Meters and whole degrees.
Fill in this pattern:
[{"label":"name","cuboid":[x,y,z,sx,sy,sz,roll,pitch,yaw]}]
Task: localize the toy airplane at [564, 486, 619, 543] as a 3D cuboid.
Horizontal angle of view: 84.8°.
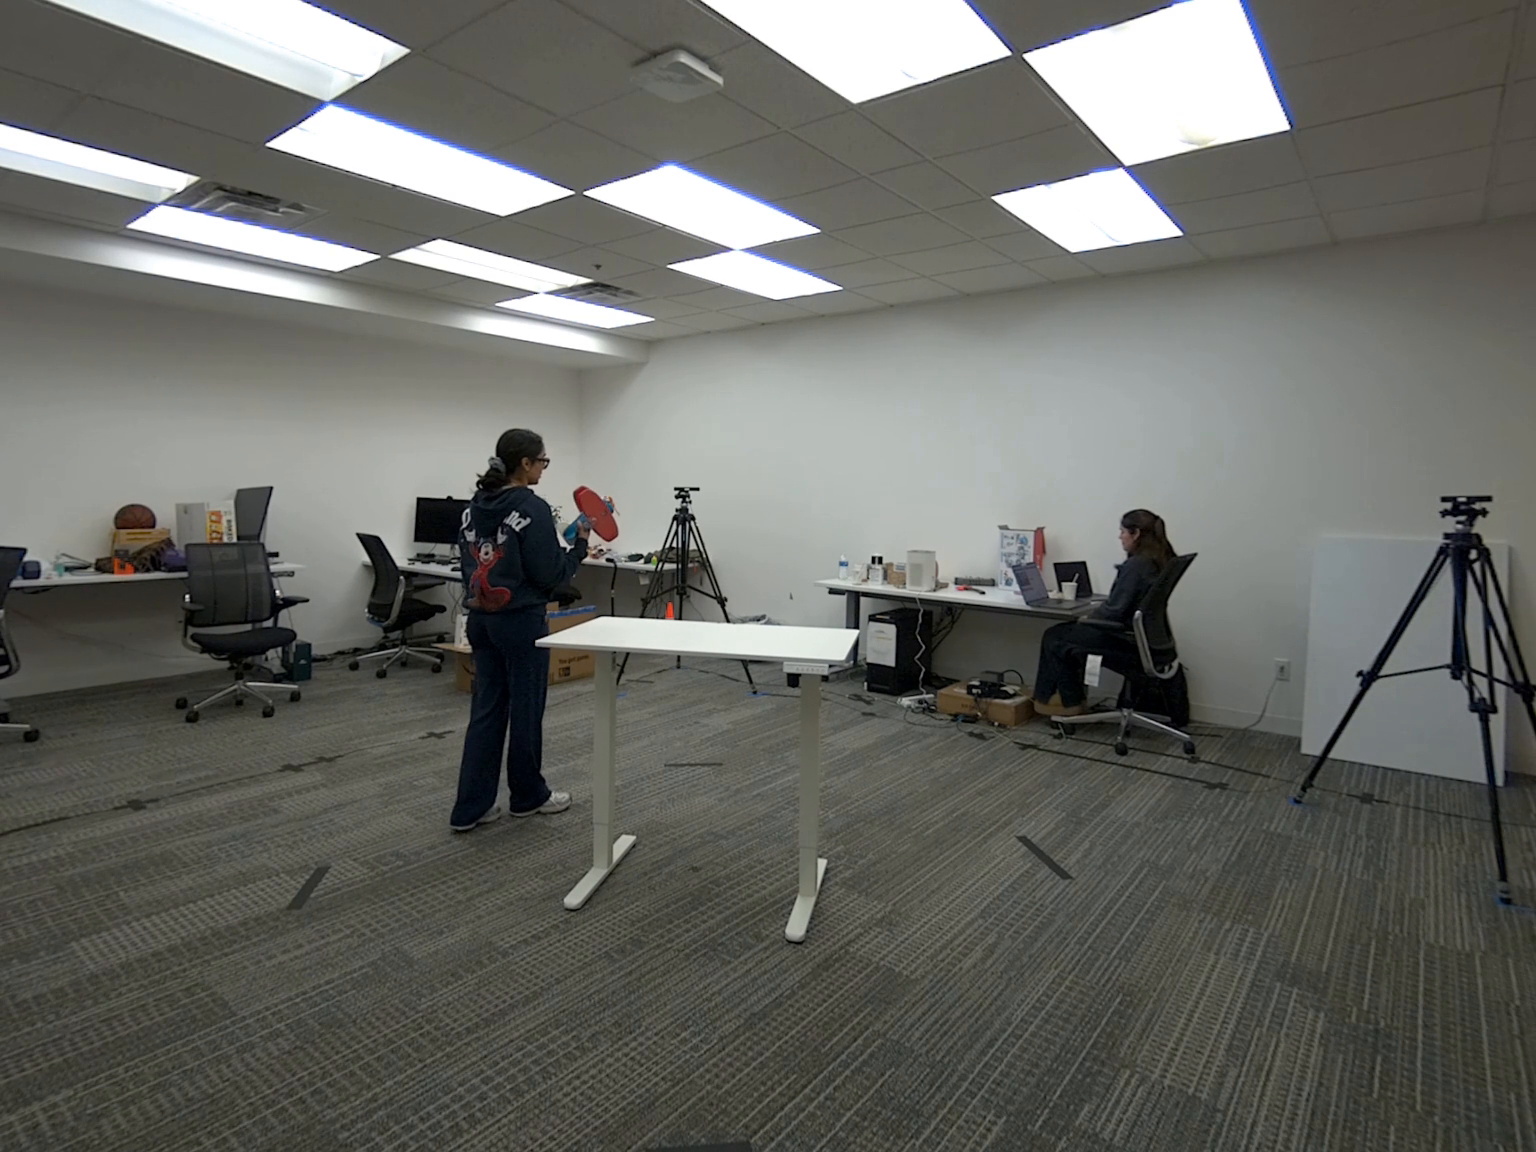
[{"label":"toy airplane","cuboid":[-0.781,-0.233,3.642,0.242,0.260,0.161,29,-13,-32]}]
